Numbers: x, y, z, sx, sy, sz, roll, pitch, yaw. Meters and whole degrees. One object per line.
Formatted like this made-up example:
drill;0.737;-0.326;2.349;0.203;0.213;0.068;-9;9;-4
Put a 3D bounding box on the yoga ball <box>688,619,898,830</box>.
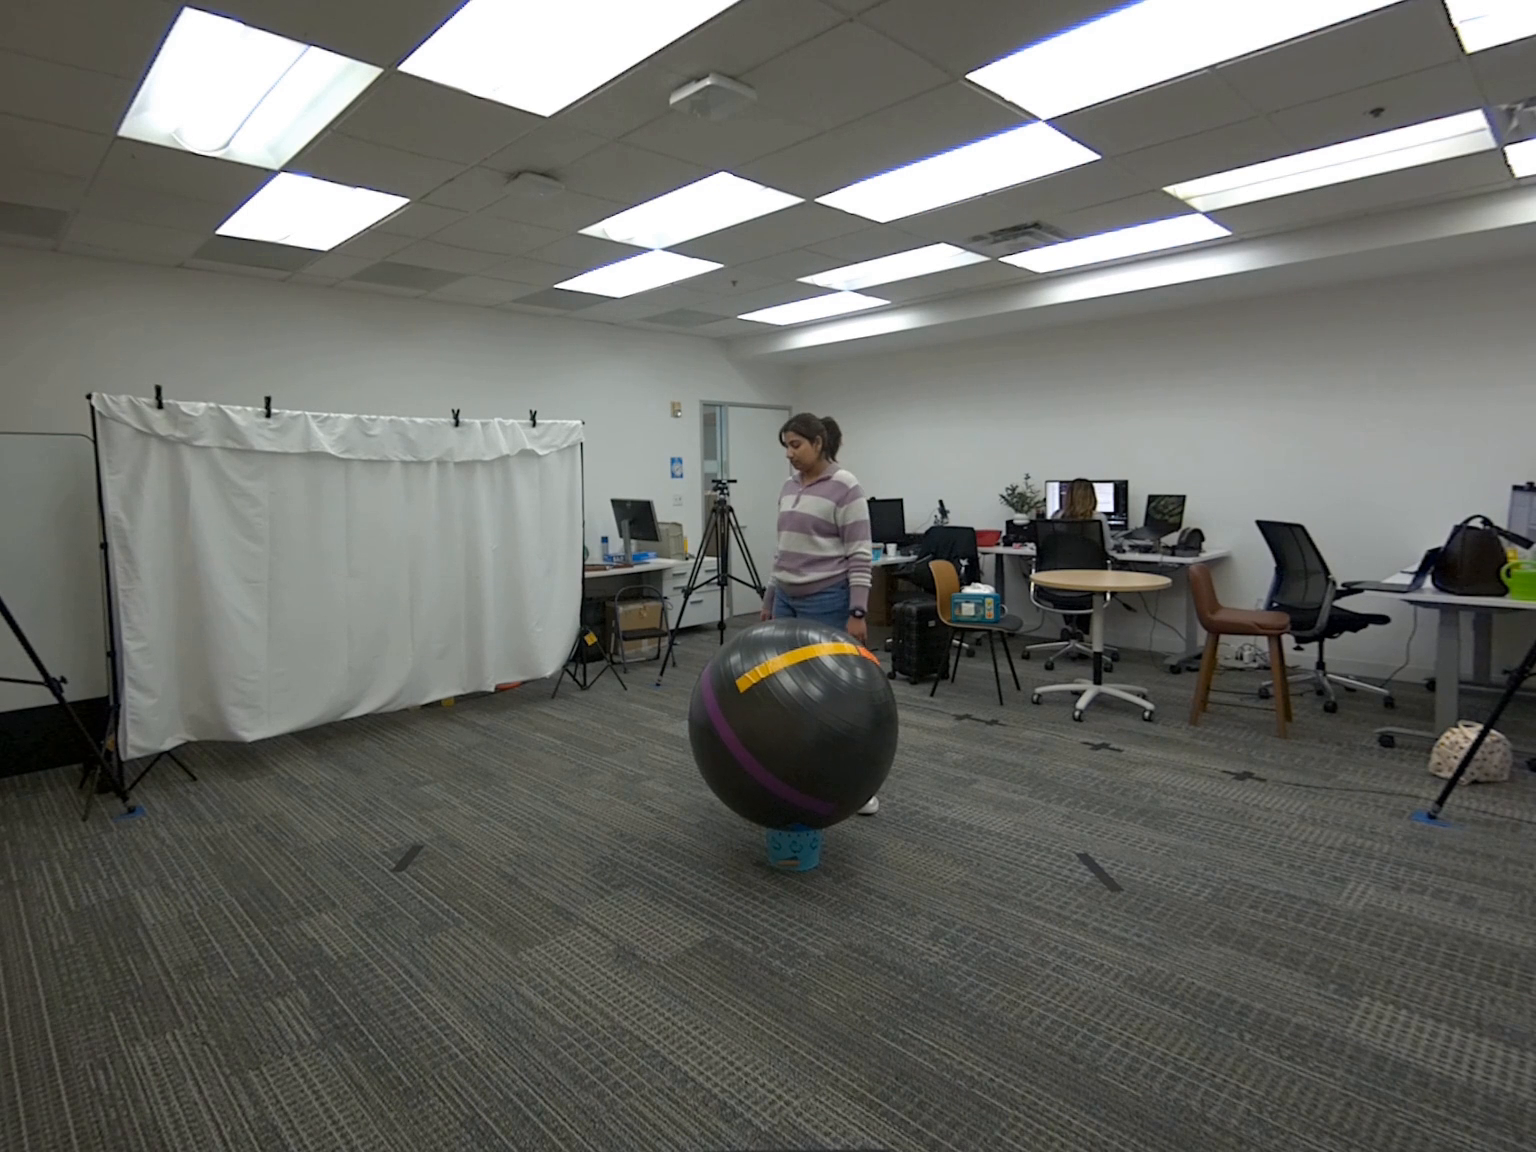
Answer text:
yoga ball;0.088;0.535;3.109;0.757;0.755;0.762;-1;5;-2
